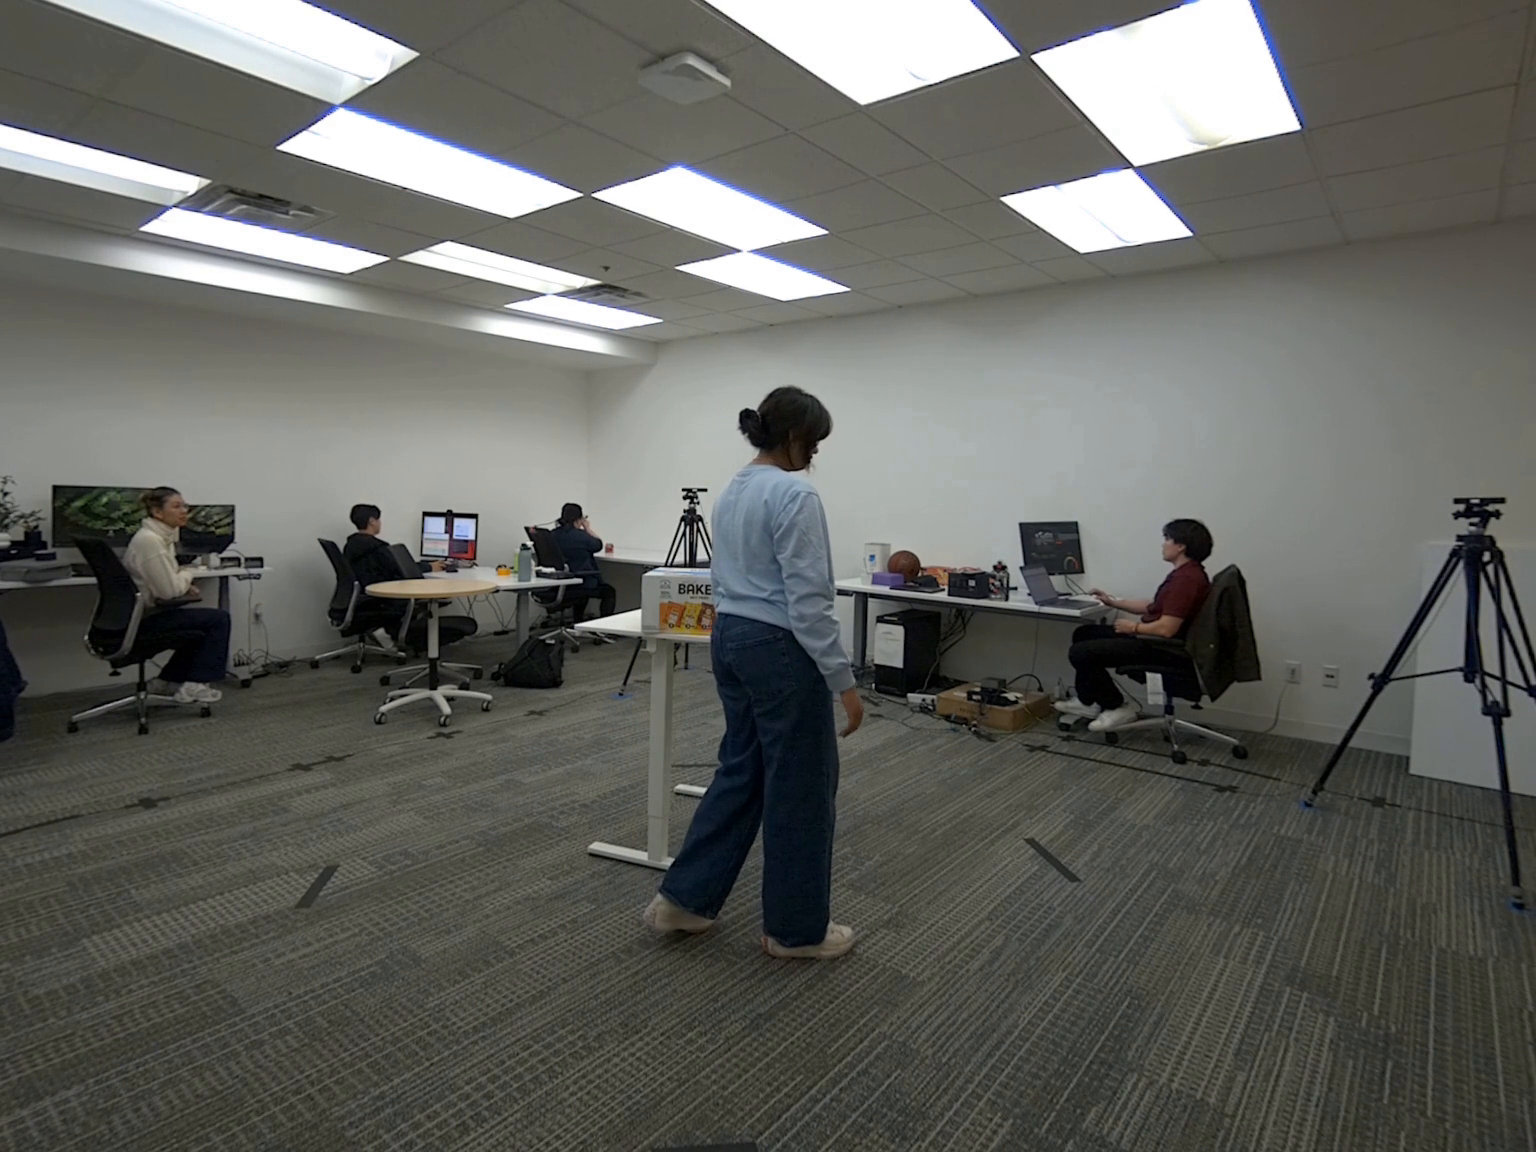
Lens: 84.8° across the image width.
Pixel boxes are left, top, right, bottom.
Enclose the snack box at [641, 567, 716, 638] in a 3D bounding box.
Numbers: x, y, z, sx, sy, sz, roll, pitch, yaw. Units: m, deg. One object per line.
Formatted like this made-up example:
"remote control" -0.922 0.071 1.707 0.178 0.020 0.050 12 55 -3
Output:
"snack box" -0.239 0.087 3.086 0.408 0.205 0.340 2 5 5
